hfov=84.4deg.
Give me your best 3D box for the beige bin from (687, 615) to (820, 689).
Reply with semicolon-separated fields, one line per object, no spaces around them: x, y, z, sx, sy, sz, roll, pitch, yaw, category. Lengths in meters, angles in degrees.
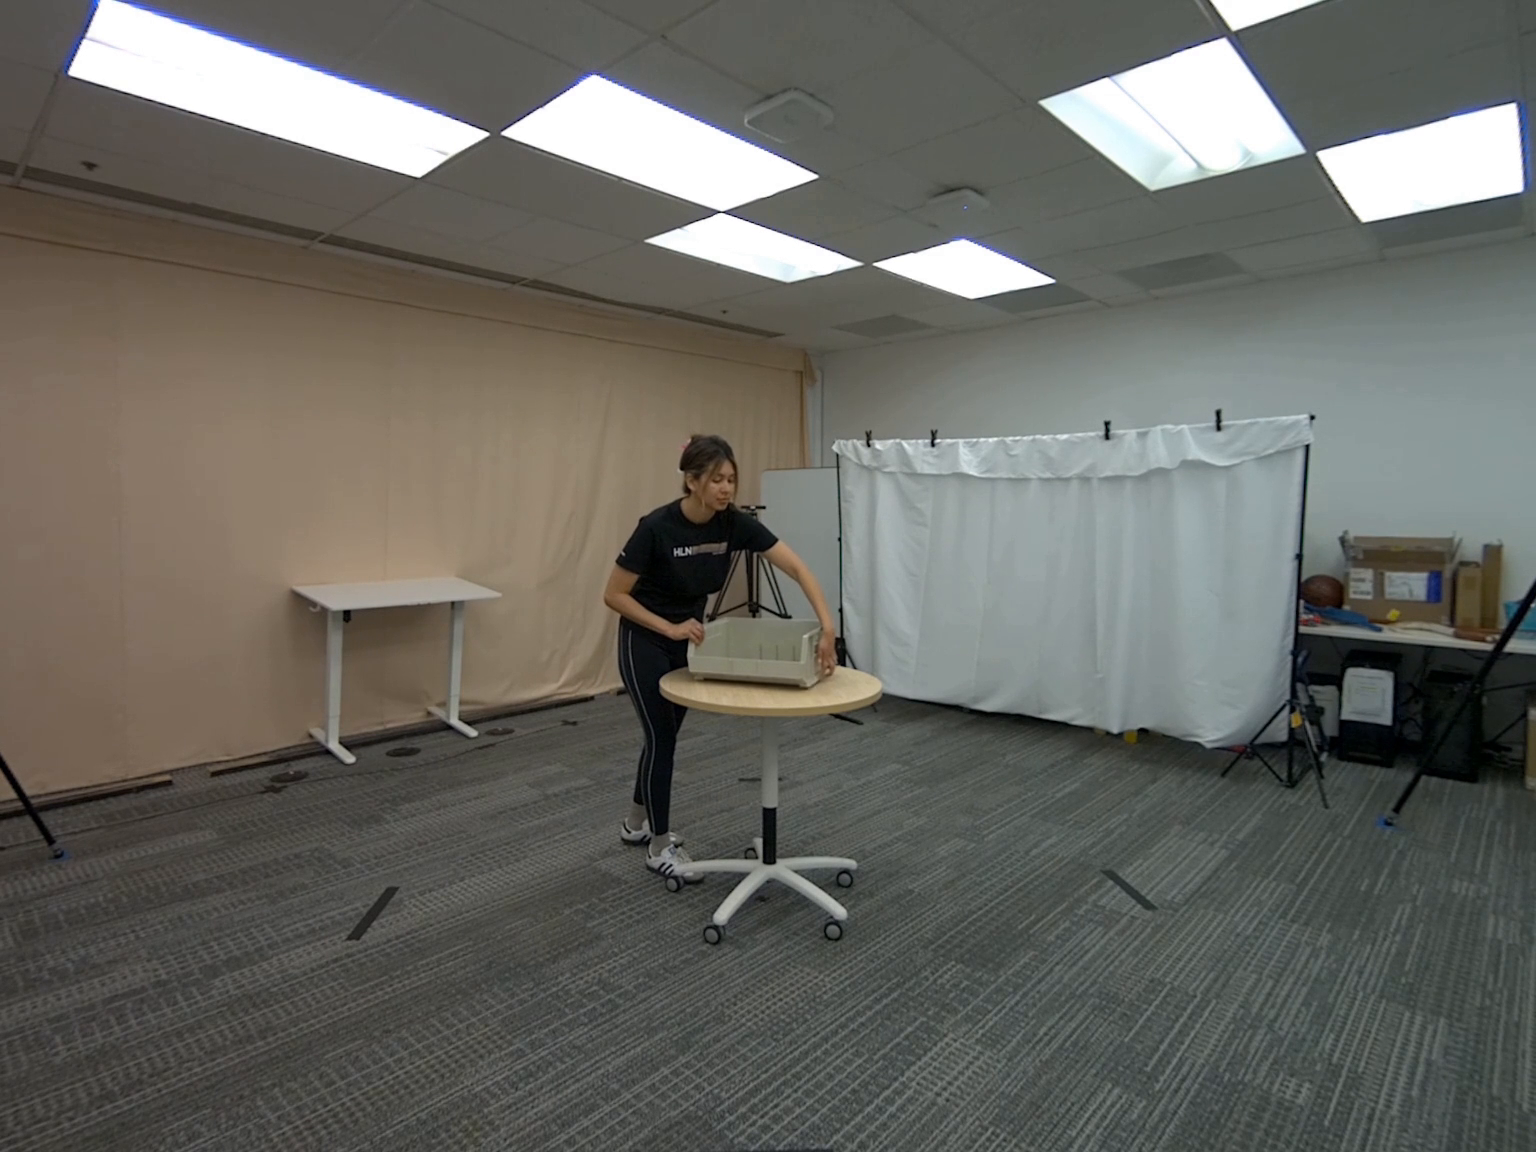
-0.014;0.266;2.963;0.432;0.189;0.369;1;2;21;beige bin
